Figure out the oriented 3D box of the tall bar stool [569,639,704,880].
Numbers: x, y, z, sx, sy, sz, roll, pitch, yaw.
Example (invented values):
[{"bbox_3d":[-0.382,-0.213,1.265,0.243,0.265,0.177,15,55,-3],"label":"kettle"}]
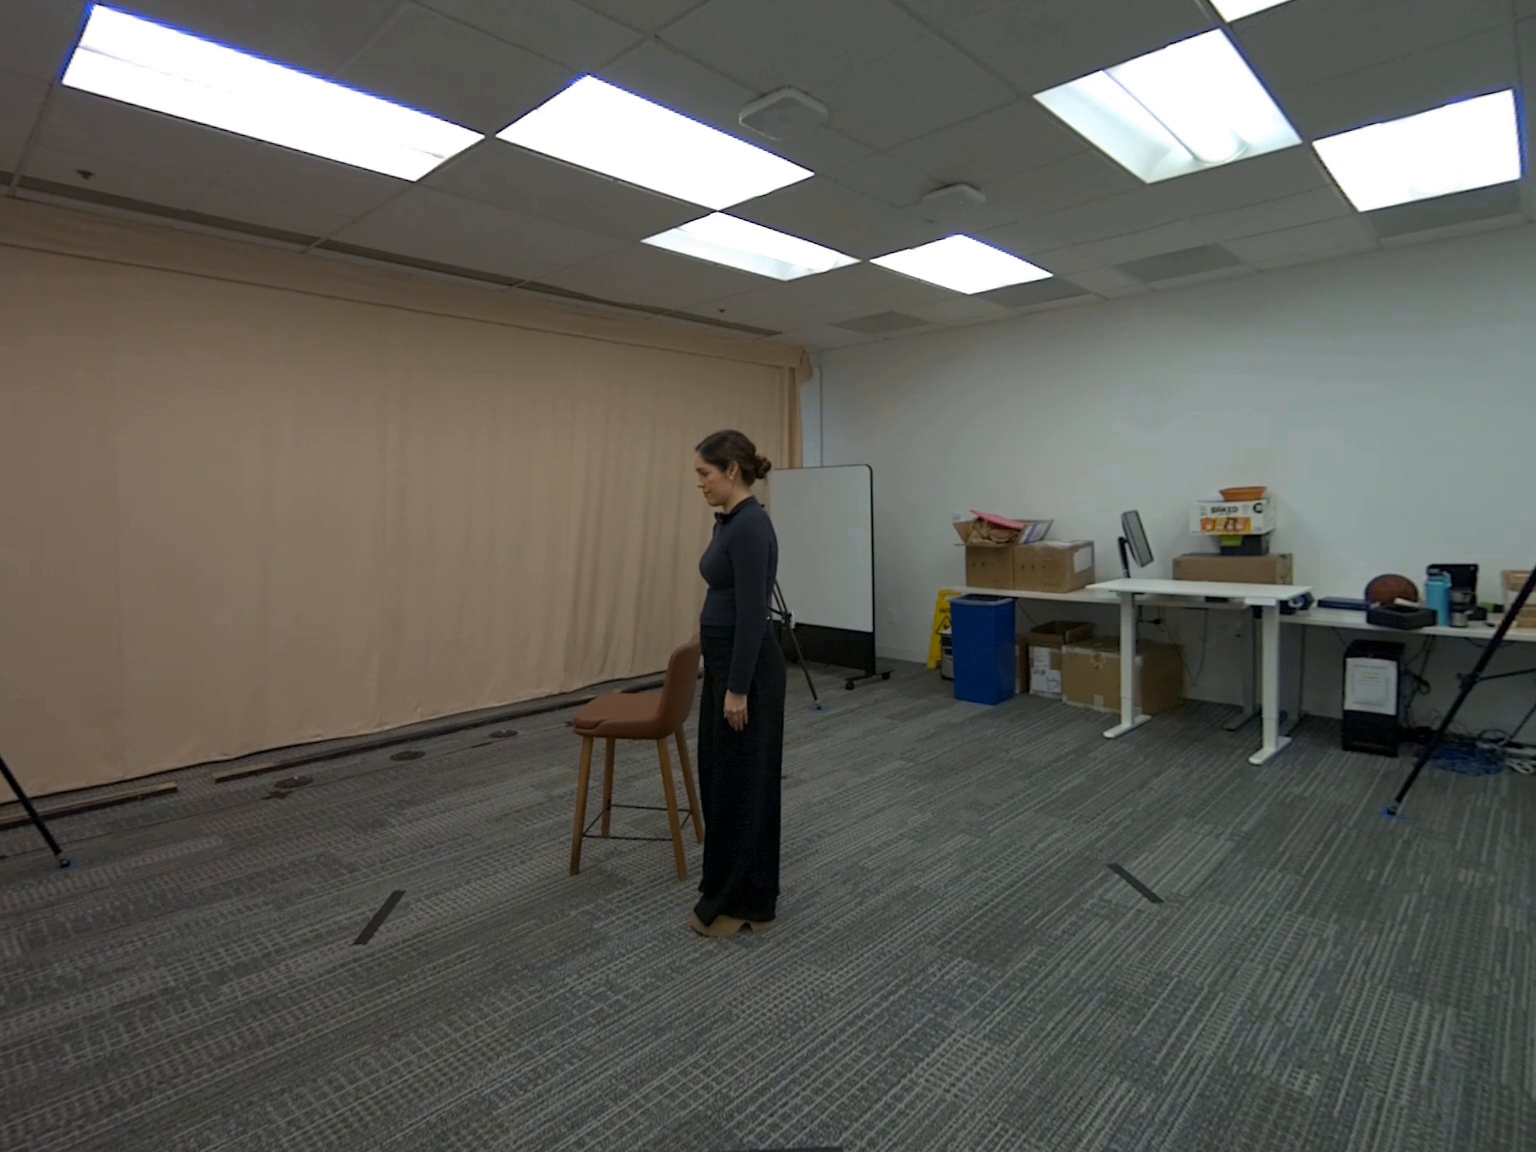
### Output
[{"bbox_3d":[-0.512,0.687,3.337,0.473,0.888,0.452,1,4,10],"label":"tall bar stool"}]
